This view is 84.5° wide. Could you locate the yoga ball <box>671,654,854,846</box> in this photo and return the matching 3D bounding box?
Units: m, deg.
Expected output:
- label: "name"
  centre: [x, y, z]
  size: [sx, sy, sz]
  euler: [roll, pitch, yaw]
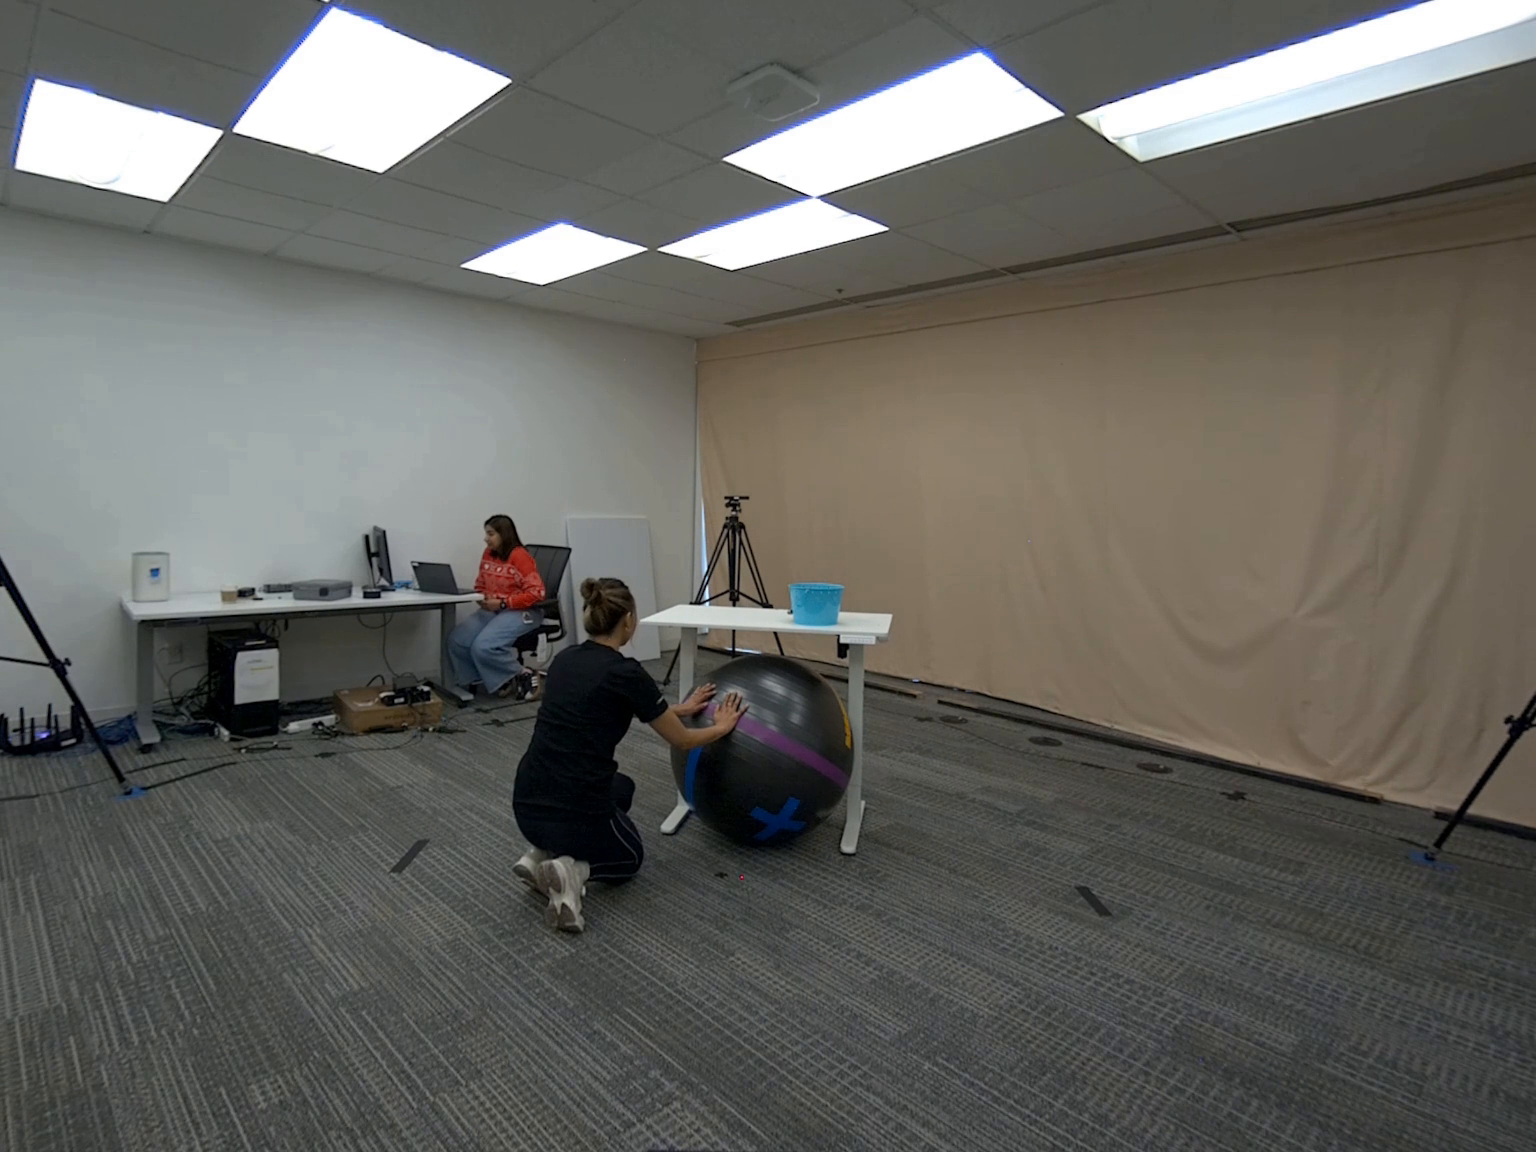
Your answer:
- label: "yoga ball"
  centre: [-0.030, 0.723, 3.476]
  size: [0.757, 0.756, 0.761]
  euler: [1, 4, -1]
